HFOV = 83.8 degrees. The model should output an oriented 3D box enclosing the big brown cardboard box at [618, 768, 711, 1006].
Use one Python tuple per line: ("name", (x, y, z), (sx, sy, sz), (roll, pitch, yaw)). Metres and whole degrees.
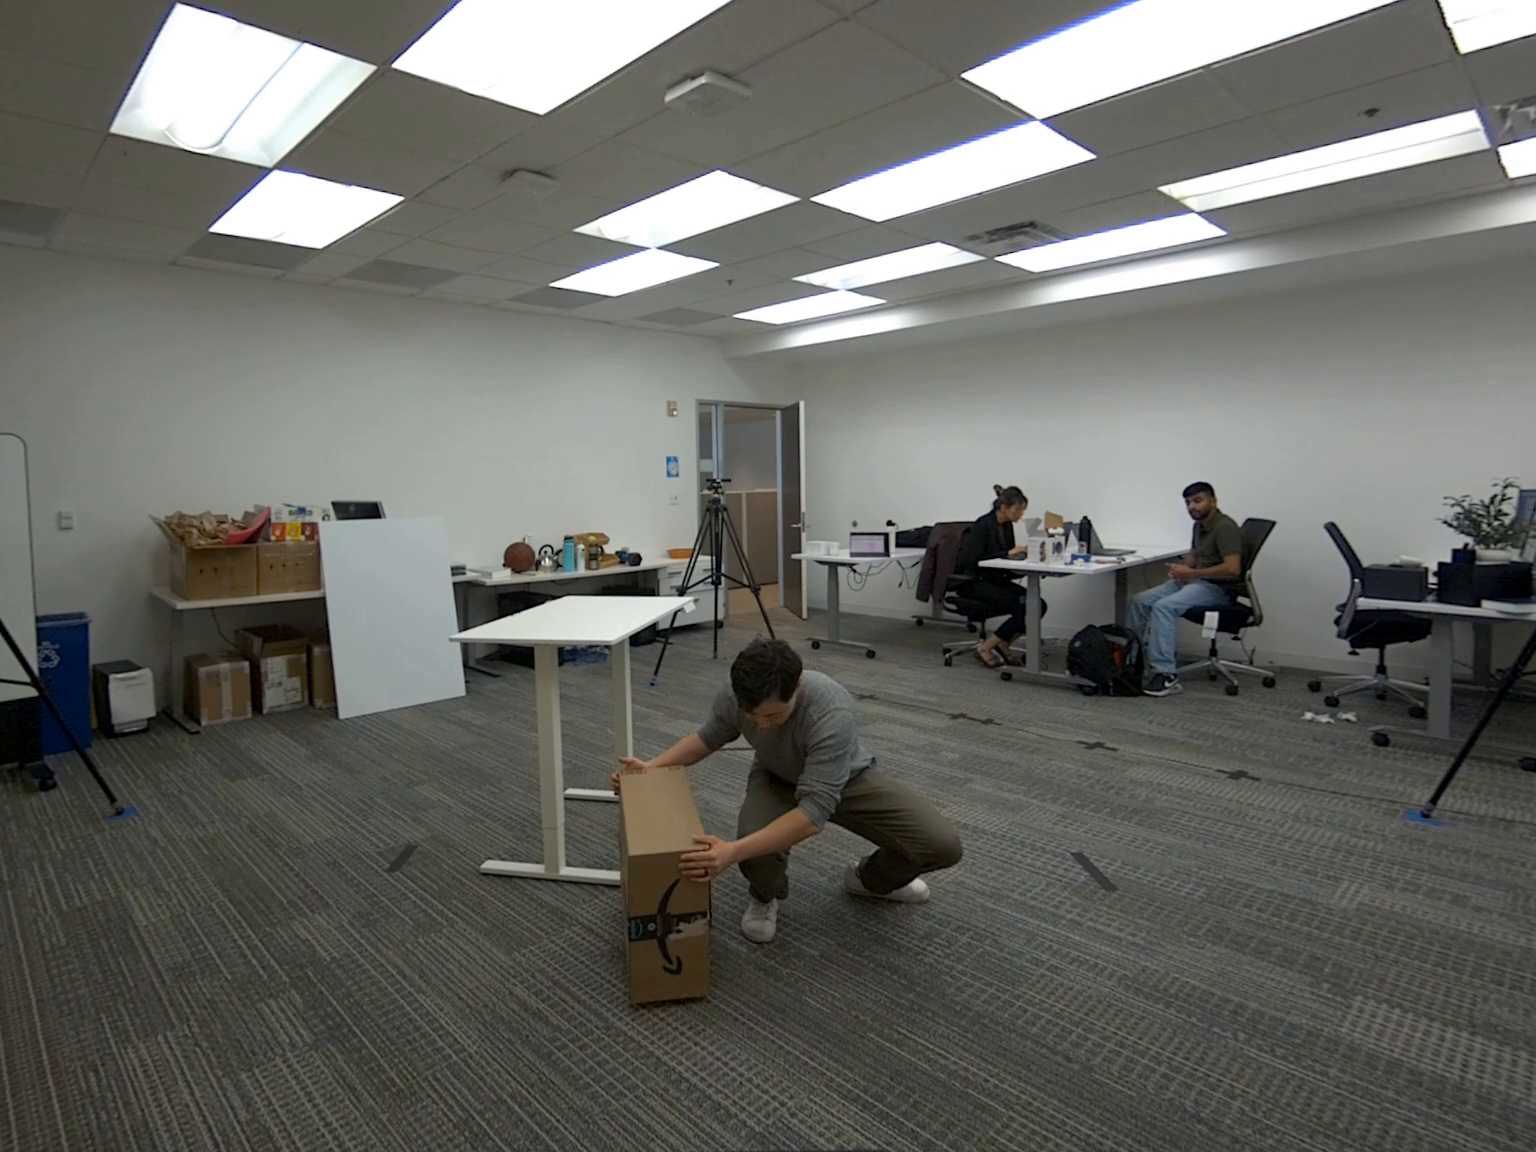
("big brown cardboard box", (-0.308, 0.872, 2.514), (0.231, 0.414, 0.599), (-2, 9, -11))
